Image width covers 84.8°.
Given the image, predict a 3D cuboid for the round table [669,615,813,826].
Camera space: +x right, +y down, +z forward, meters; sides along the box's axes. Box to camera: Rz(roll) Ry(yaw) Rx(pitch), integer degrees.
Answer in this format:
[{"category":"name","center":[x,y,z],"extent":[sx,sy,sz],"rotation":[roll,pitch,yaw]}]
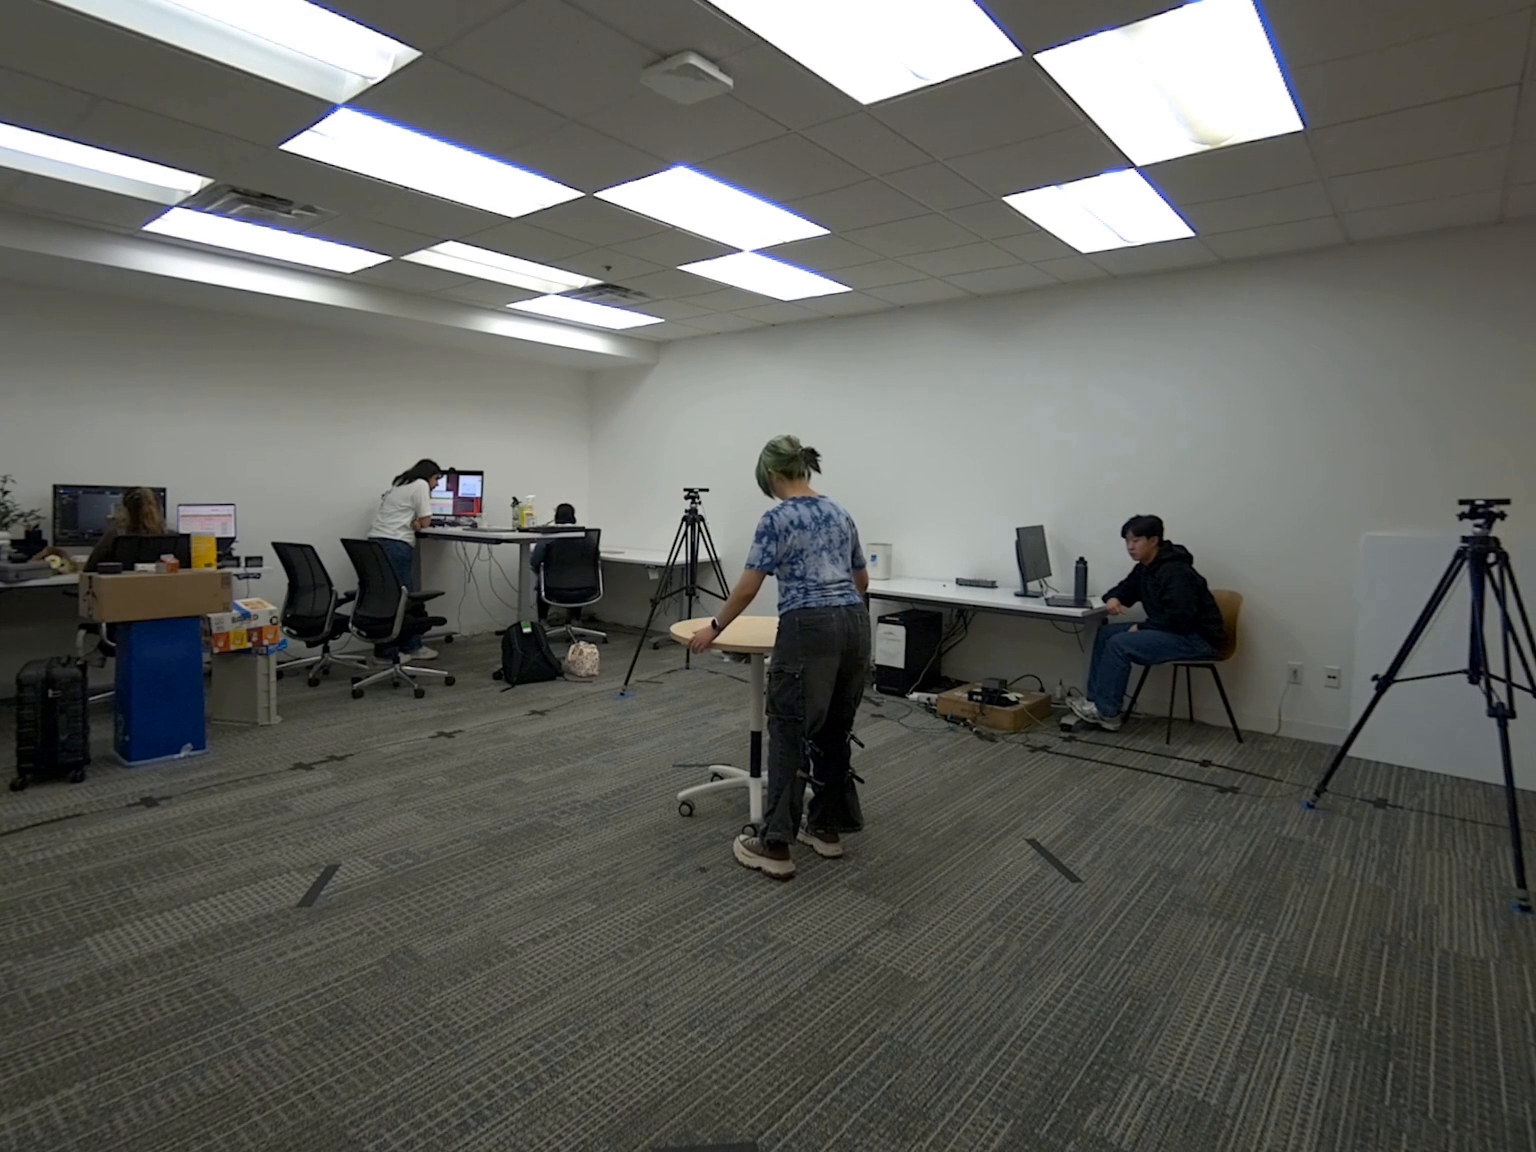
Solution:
[{"category":"round table","center":[-0.068,0.624,3.709],"extent":[0.763,0.792,0.767],"rotation":[1,4,-2]}]
